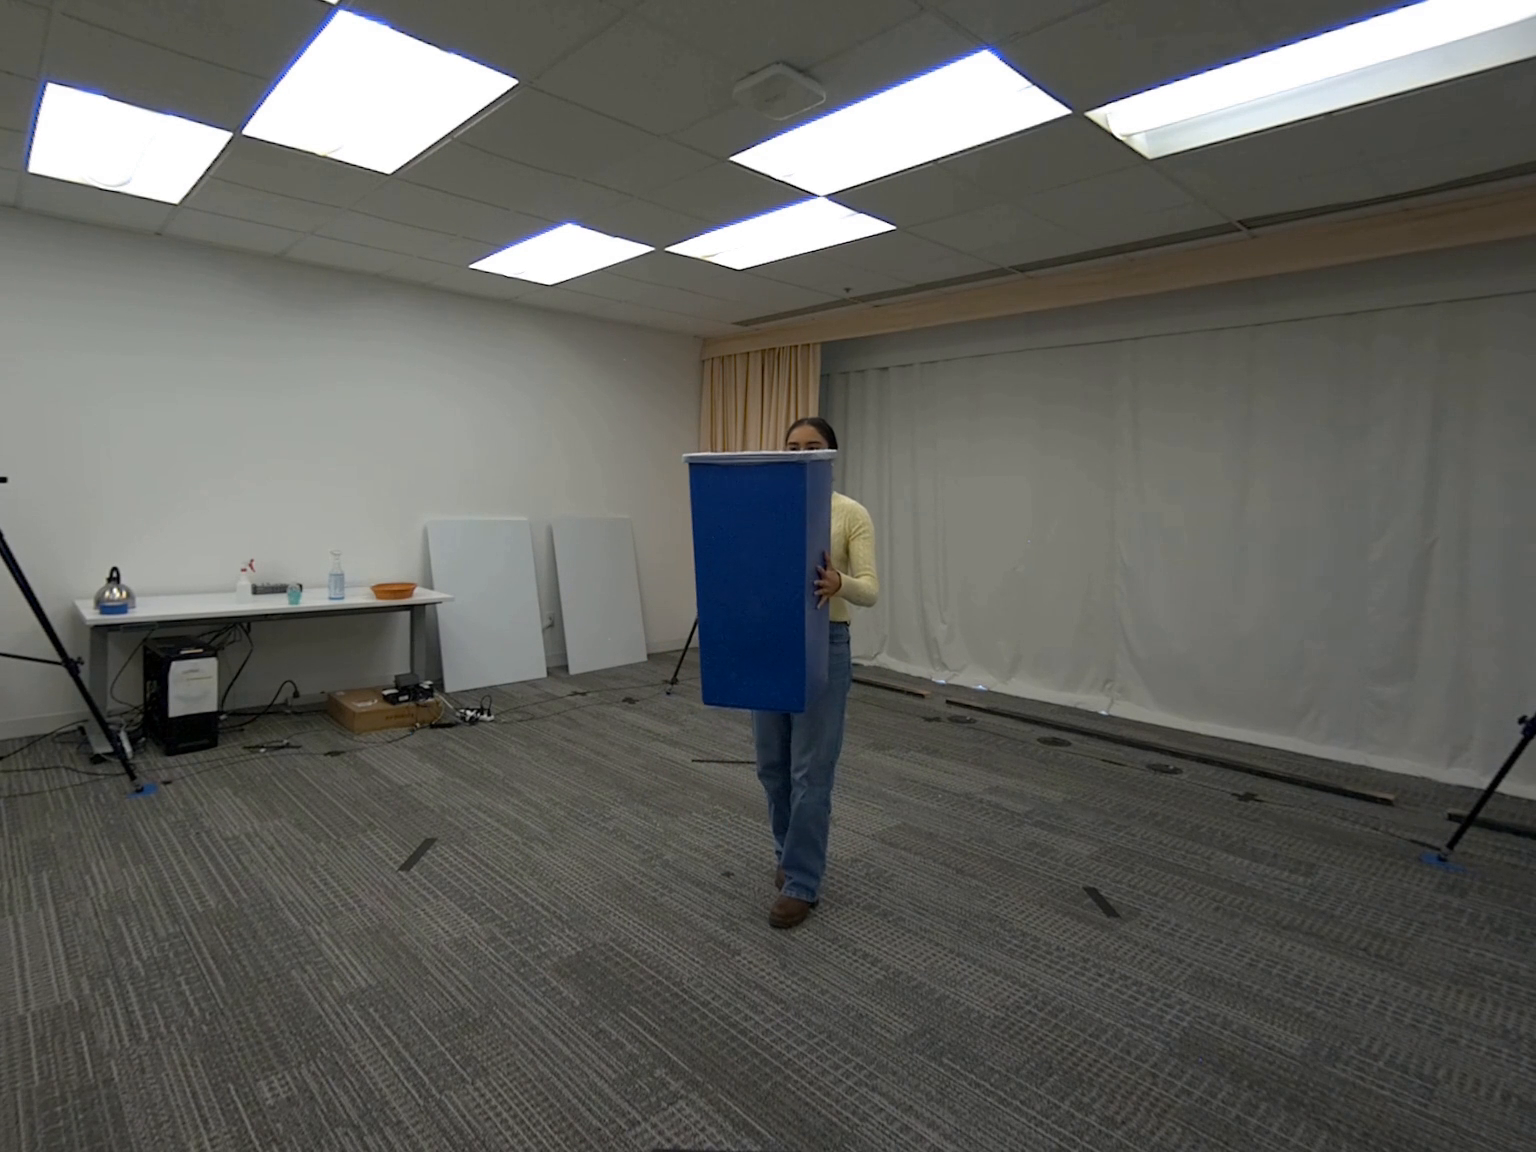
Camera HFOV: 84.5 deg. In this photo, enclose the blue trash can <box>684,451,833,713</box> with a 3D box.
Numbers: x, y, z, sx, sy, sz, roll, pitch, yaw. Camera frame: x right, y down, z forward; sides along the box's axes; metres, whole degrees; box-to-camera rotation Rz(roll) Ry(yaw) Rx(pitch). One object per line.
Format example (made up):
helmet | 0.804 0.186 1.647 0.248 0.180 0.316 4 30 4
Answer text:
blue trash can | -0.013 -0.003 2.433 0.383 0.710 0.370 1 6 18
